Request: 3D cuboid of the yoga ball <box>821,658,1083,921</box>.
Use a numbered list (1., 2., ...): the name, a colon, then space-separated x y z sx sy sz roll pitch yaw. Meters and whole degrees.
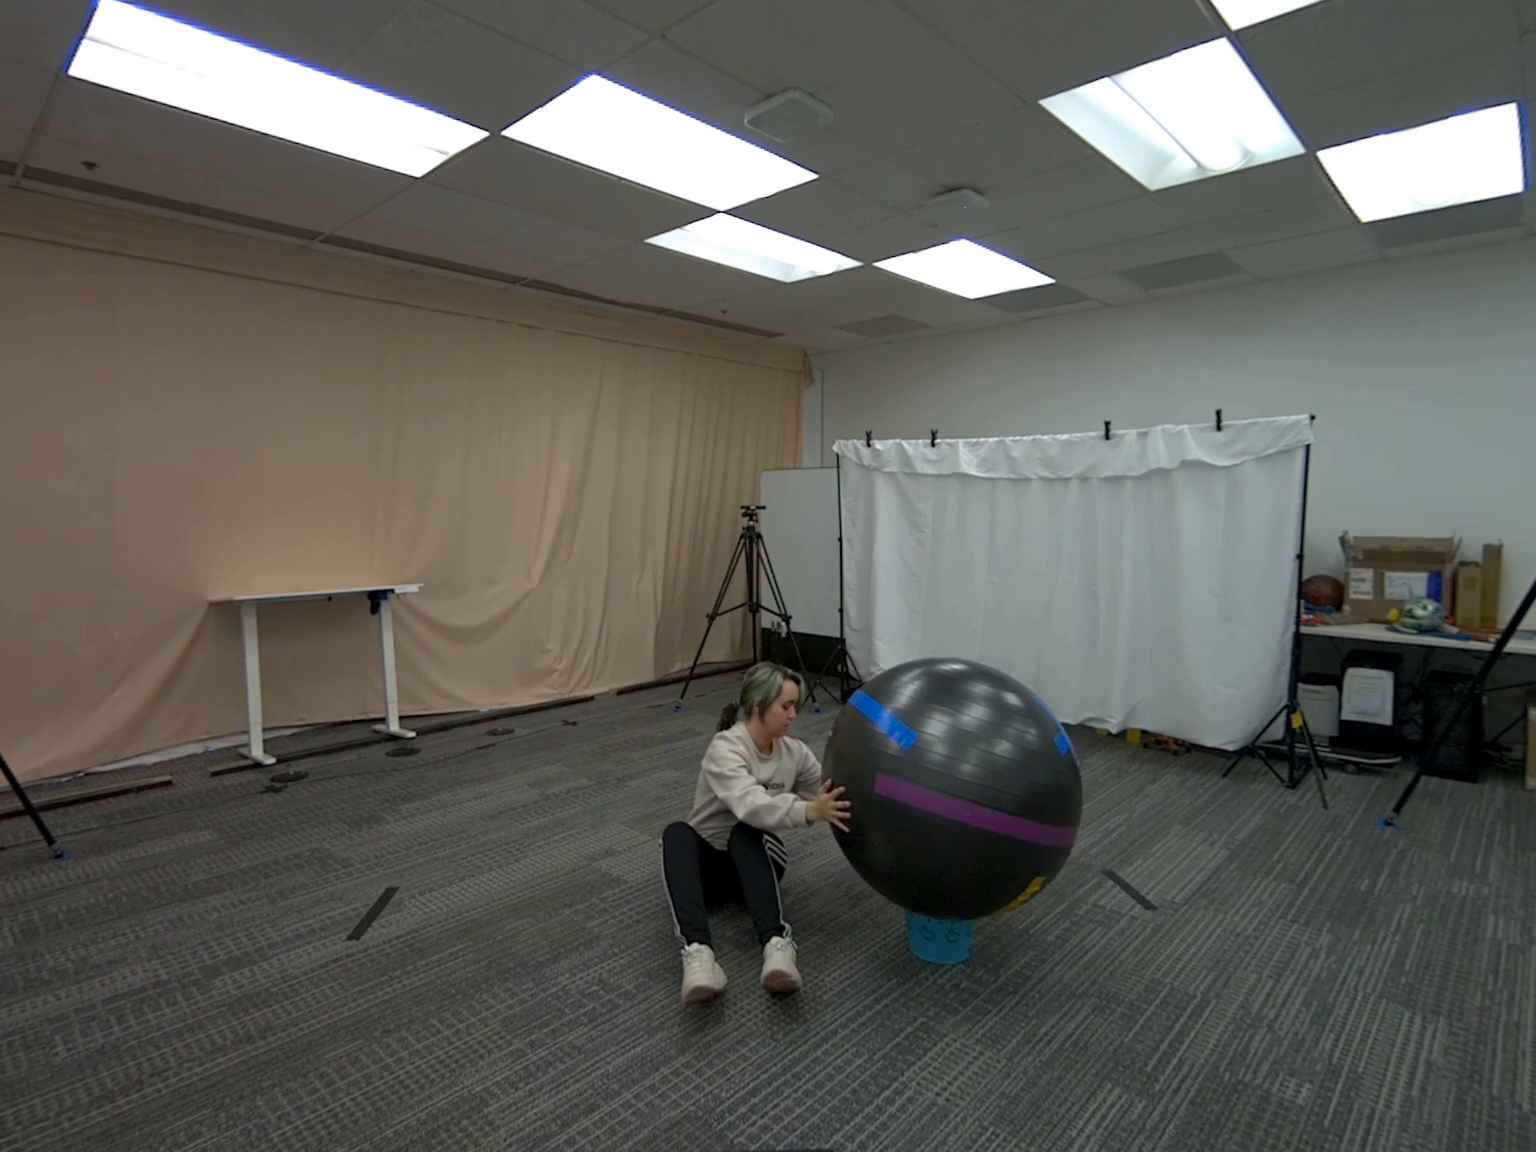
1. yoga ball: 0.548 0.639 2.546 0.757 0.756 0.761 0 4 -2
